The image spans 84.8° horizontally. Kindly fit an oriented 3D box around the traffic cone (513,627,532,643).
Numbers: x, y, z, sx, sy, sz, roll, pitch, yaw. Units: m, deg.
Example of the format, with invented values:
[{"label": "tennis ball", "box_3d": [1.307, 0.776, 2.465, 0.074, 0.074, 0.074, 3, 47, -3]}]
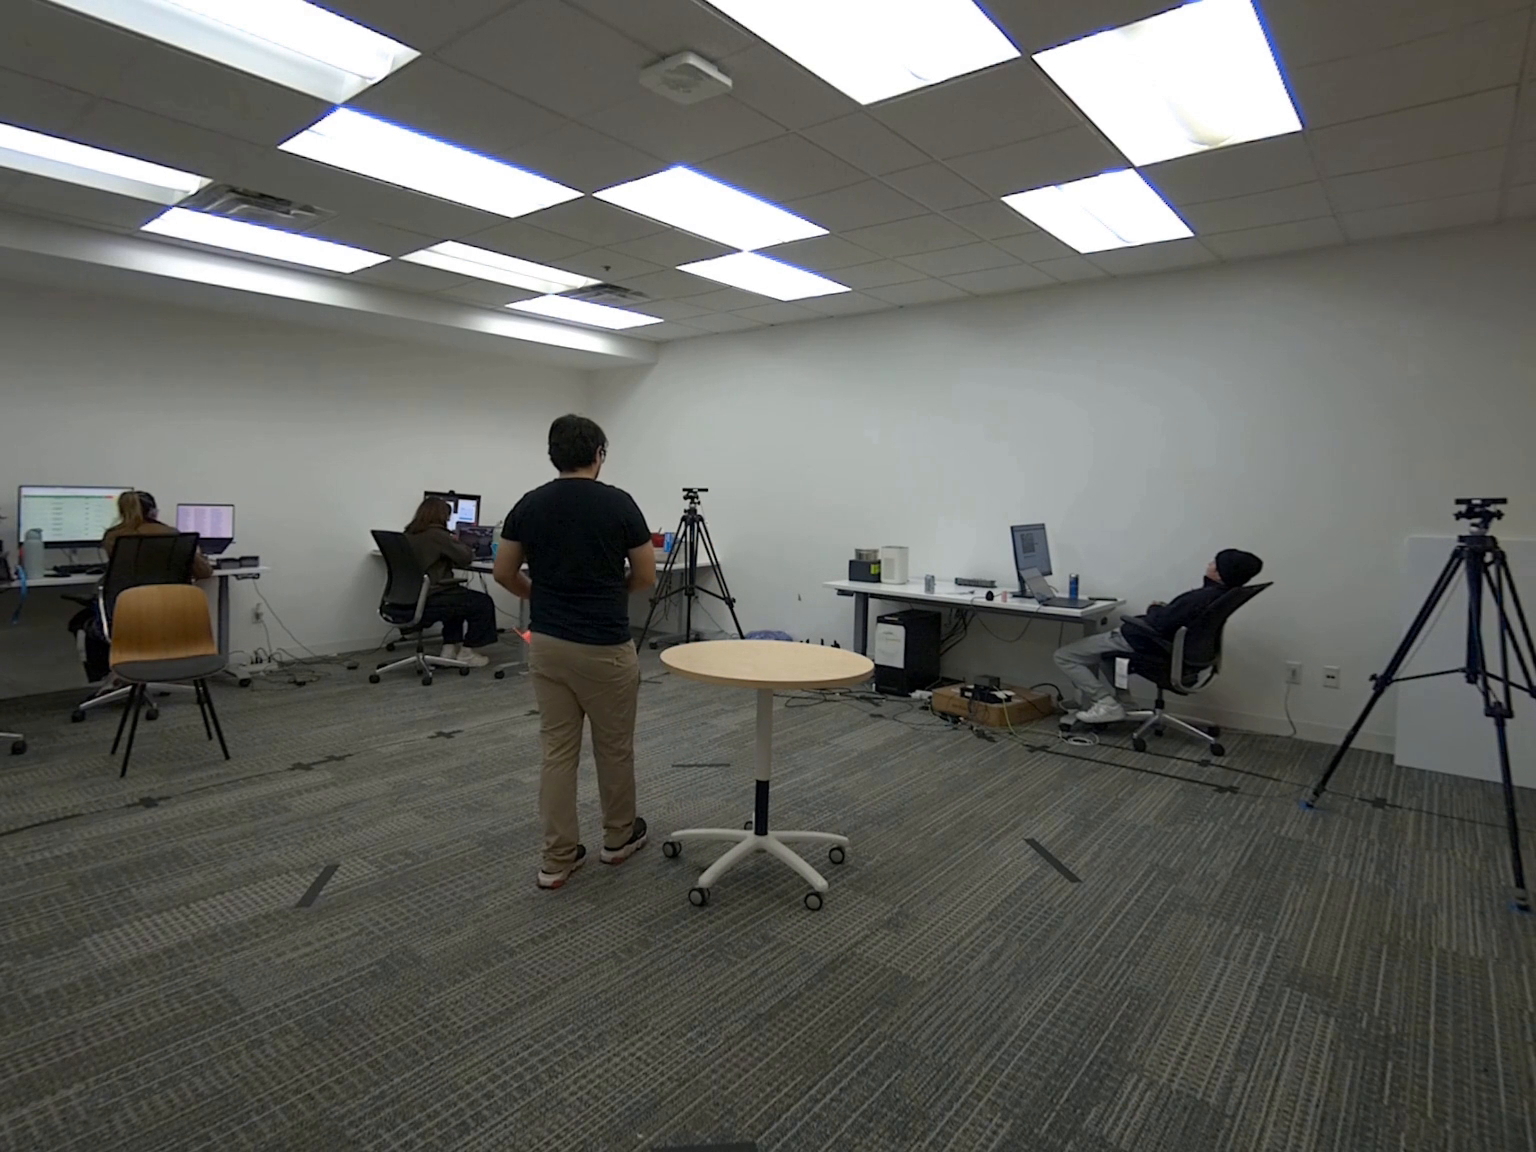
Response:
[{"label": "traffic cone", "box_3d": [-0.776, 0.141, 3.302, 0.212, 0.383, 0.196, 34, -15, 42]}]
